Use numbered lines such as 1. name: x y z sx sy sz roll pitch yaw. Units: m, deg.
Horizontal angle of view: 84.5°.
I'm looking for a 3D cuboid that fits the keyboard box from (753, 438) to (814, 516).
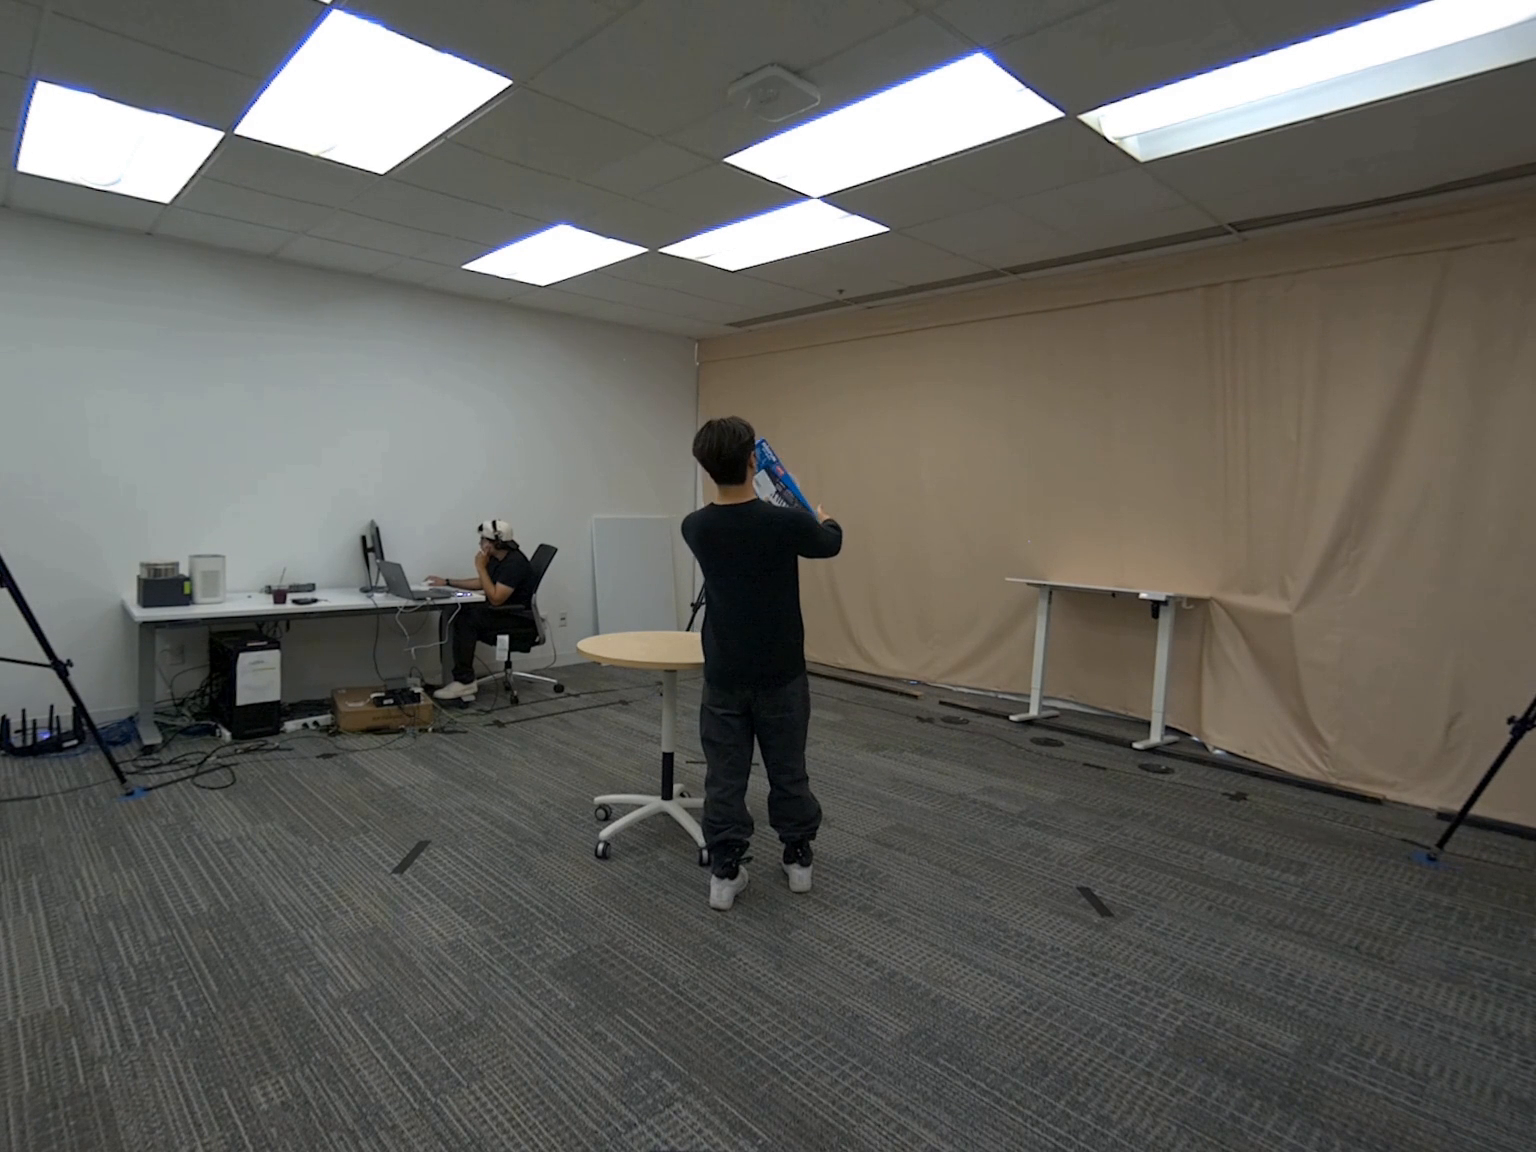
1. keyboard box: 0.027 -0.326 3.397 0.175 0.431 0.060 -40 13 -22
